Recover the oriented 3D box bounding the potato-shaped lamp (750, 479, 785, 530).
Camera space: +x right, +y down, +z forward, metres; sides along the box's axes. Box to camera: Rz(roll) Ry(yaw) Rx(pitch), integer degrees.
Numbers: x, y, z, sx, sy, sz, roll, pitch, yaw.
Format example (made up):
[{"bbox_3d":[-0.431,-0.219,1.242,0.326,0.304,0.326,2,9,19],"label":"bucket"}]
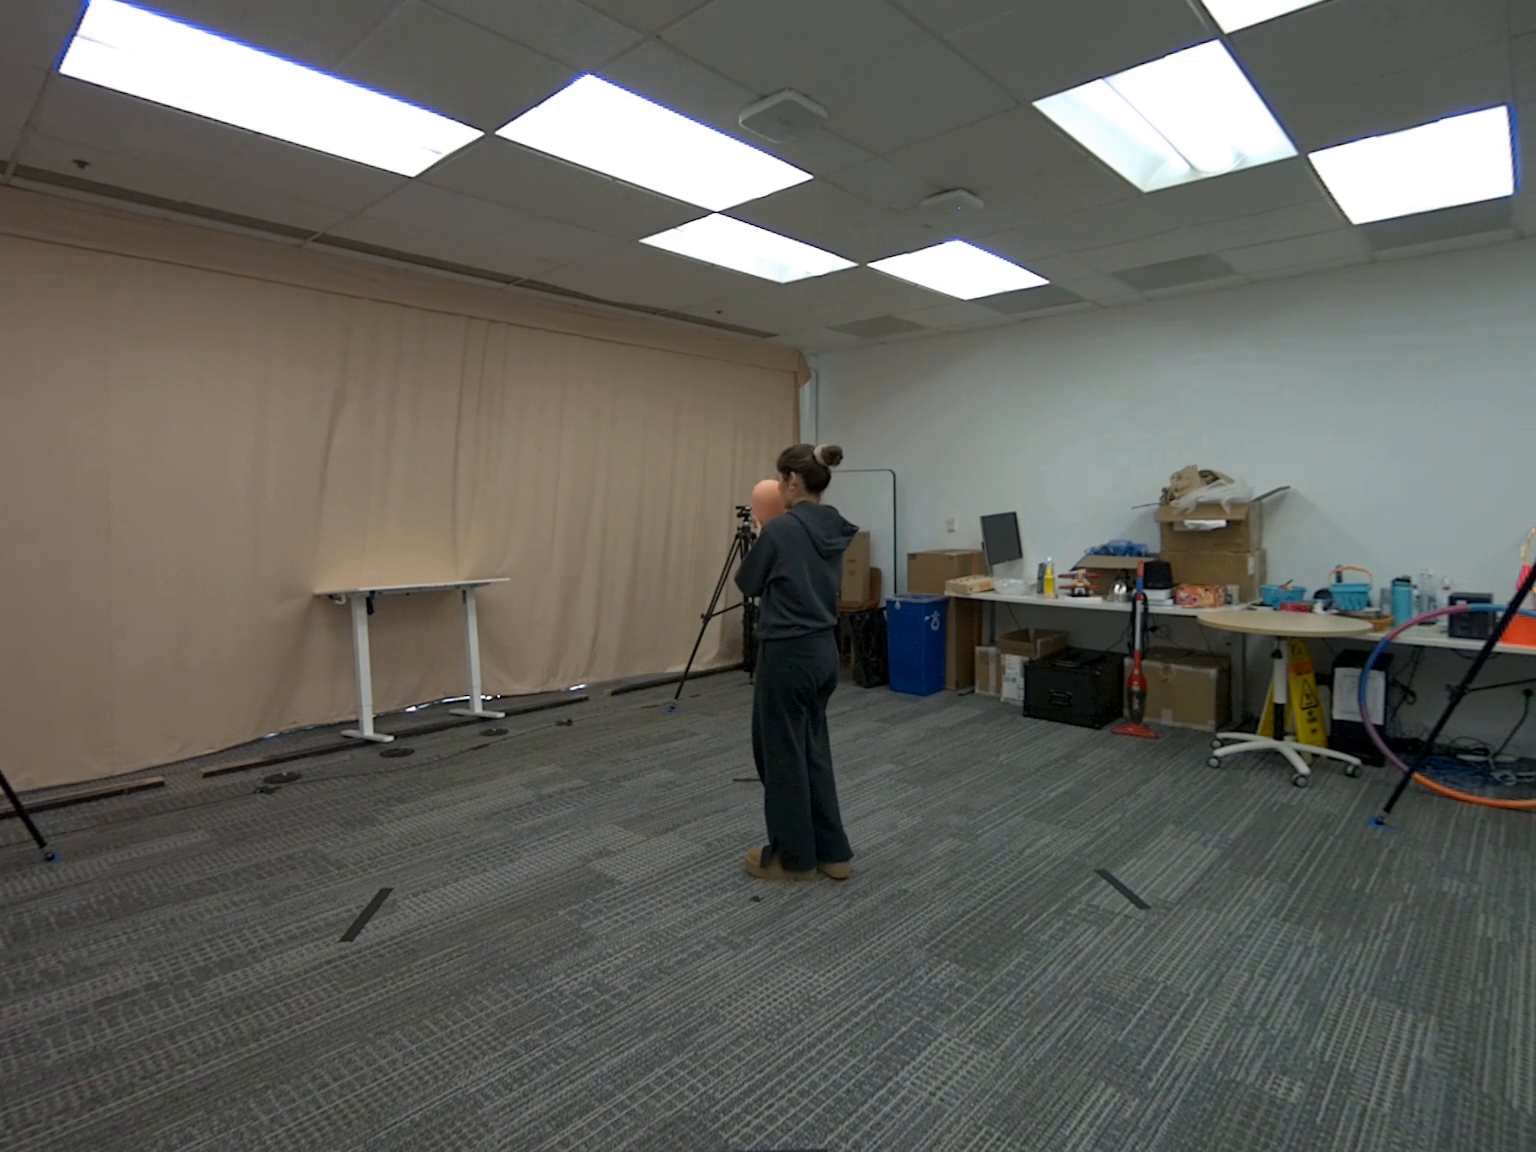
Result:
[{"bbox_3d":[0.024,-0.291,3.354,0.171,0.194,0.169,27,45,36],"label":"potato-shaped lamp"}]
